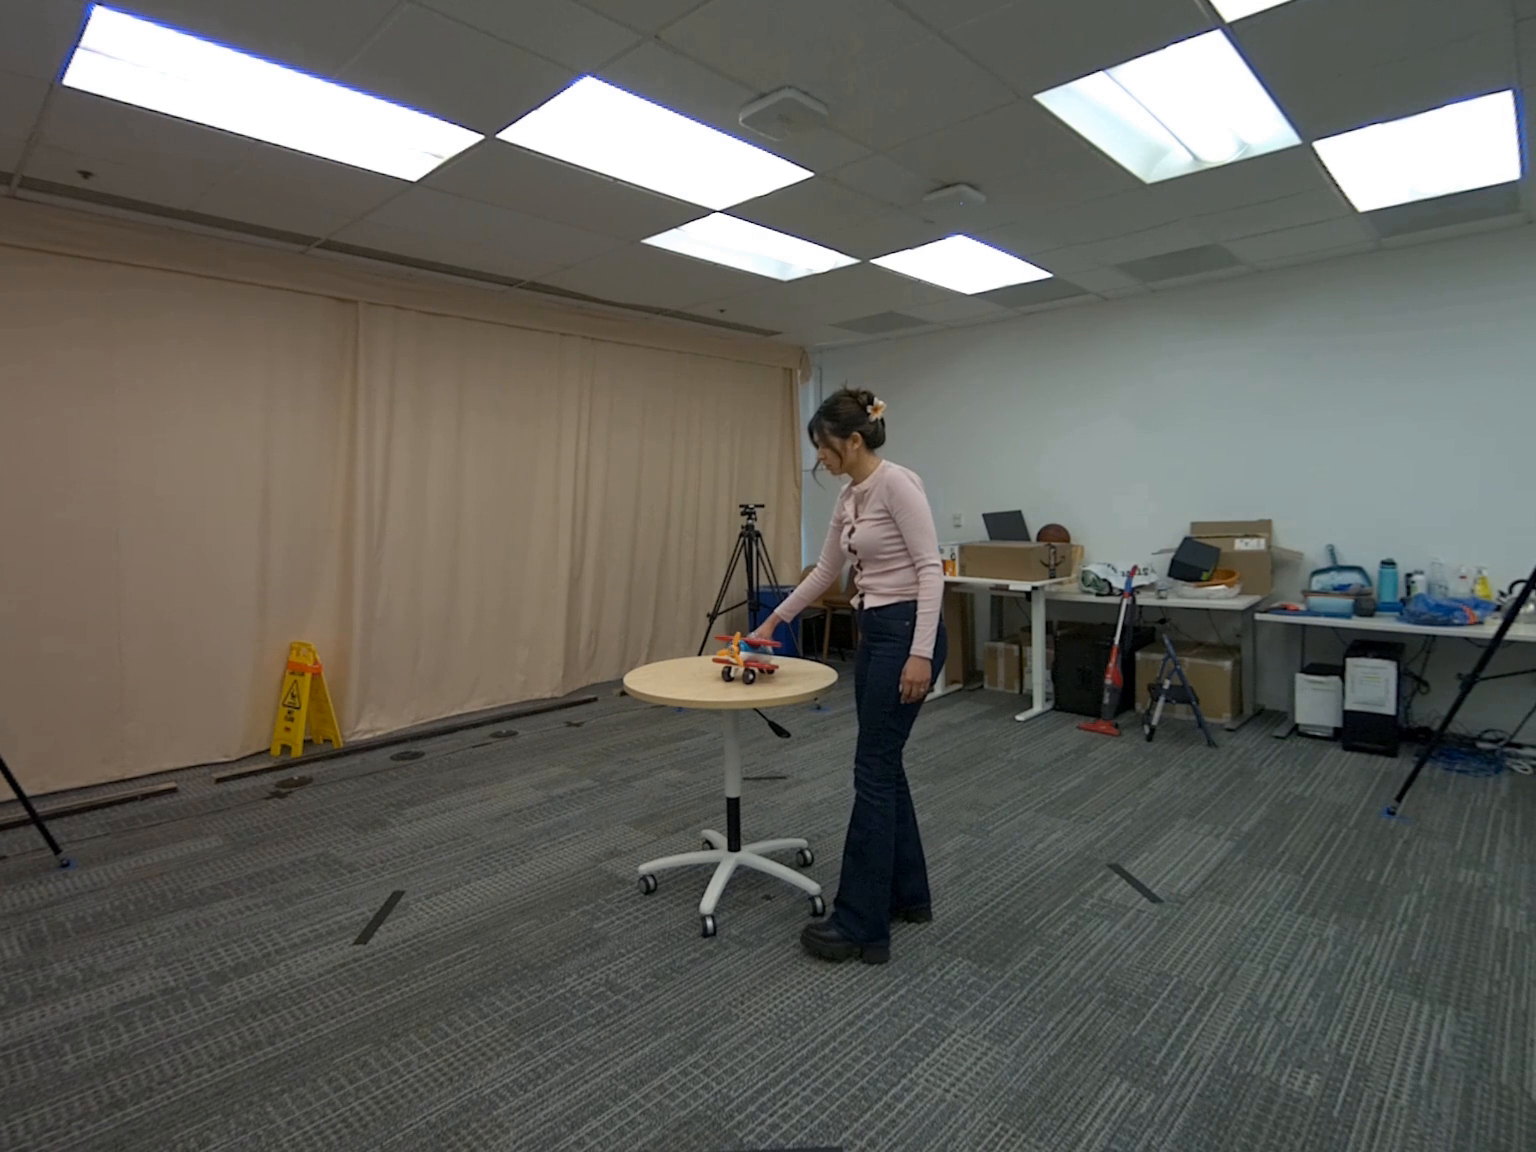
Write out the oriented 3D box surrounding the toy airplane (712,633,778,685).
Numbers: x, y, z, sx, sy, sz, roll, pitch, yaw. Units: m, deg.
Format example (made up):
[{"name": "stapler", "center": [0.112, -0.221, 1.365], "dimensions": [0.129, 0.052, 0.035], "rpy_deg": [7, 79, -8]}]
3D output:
[{"name": "toy airplane", "center": [-0.079, 0.284, 2.968], "dimensions": [0.253, 0.156, 0.258], "rpy_deg": [-1, 6, 6]}]
